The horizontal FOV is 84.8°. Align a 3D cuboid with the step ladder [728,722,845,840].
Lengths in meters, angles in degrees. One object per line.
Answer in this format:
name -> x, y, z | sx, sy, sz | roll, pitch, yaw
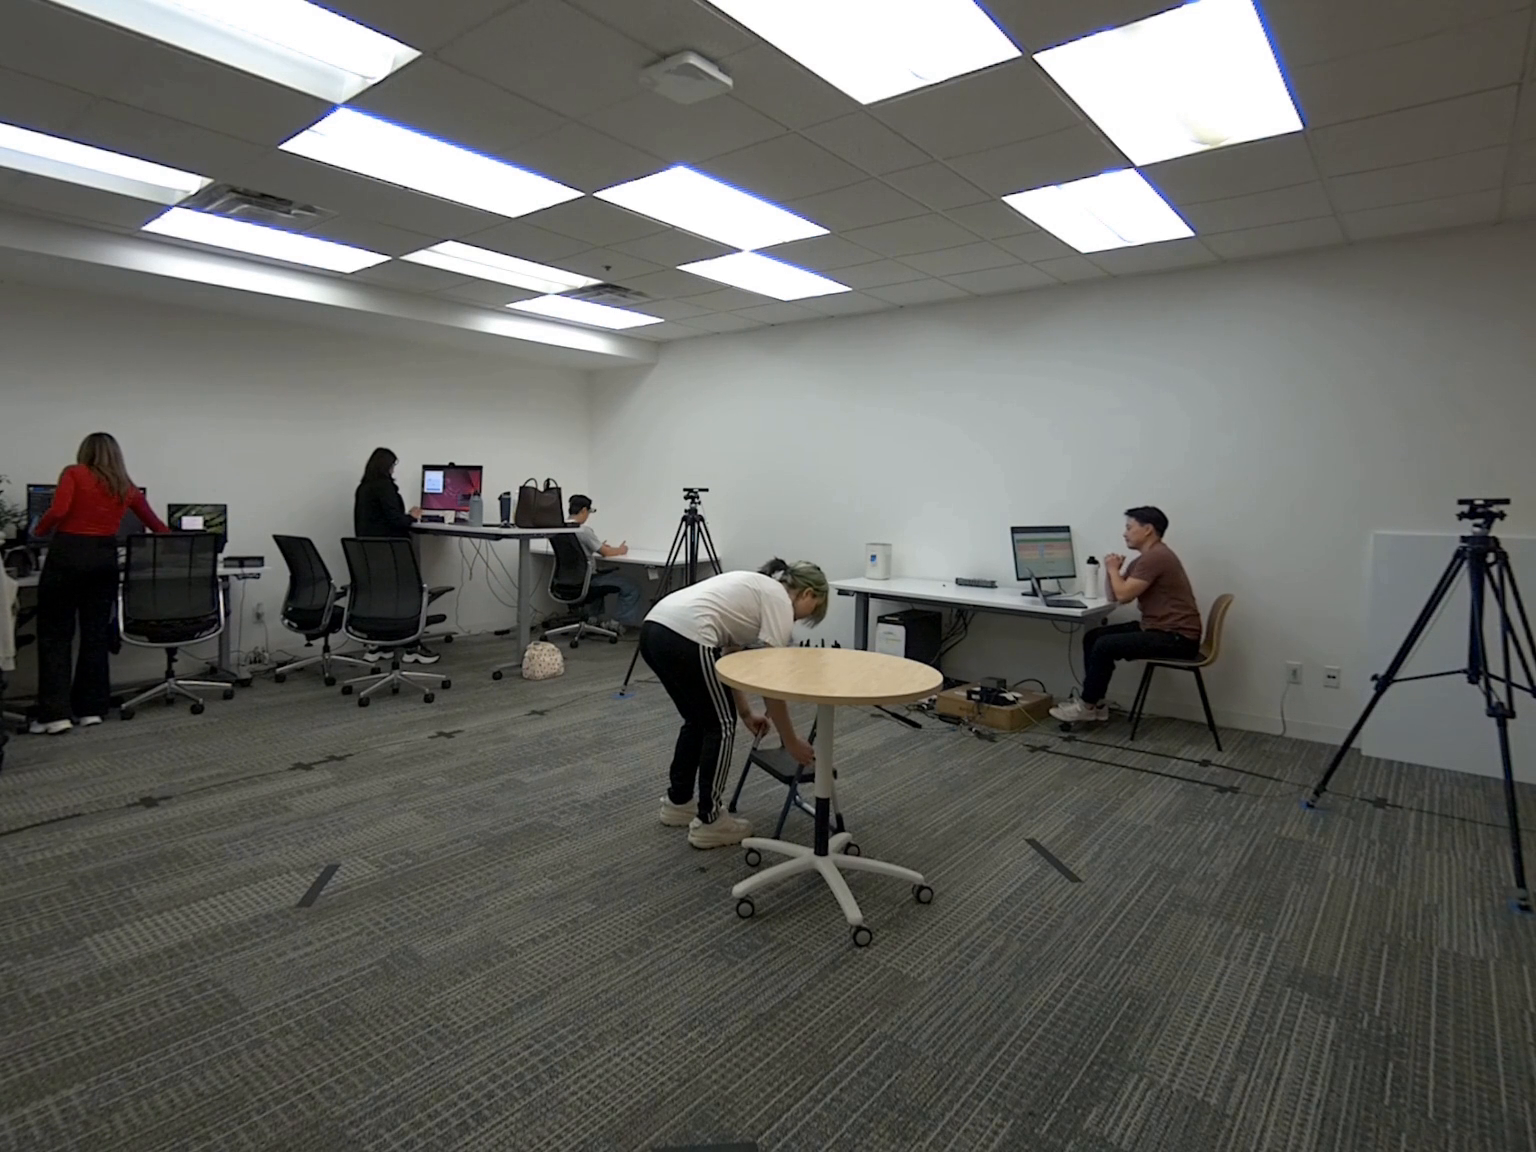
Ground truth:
step ladder -> 0.071, 0.728, 3.548 | 0.340, 0.605, 0.442 | 1, 3, -27
